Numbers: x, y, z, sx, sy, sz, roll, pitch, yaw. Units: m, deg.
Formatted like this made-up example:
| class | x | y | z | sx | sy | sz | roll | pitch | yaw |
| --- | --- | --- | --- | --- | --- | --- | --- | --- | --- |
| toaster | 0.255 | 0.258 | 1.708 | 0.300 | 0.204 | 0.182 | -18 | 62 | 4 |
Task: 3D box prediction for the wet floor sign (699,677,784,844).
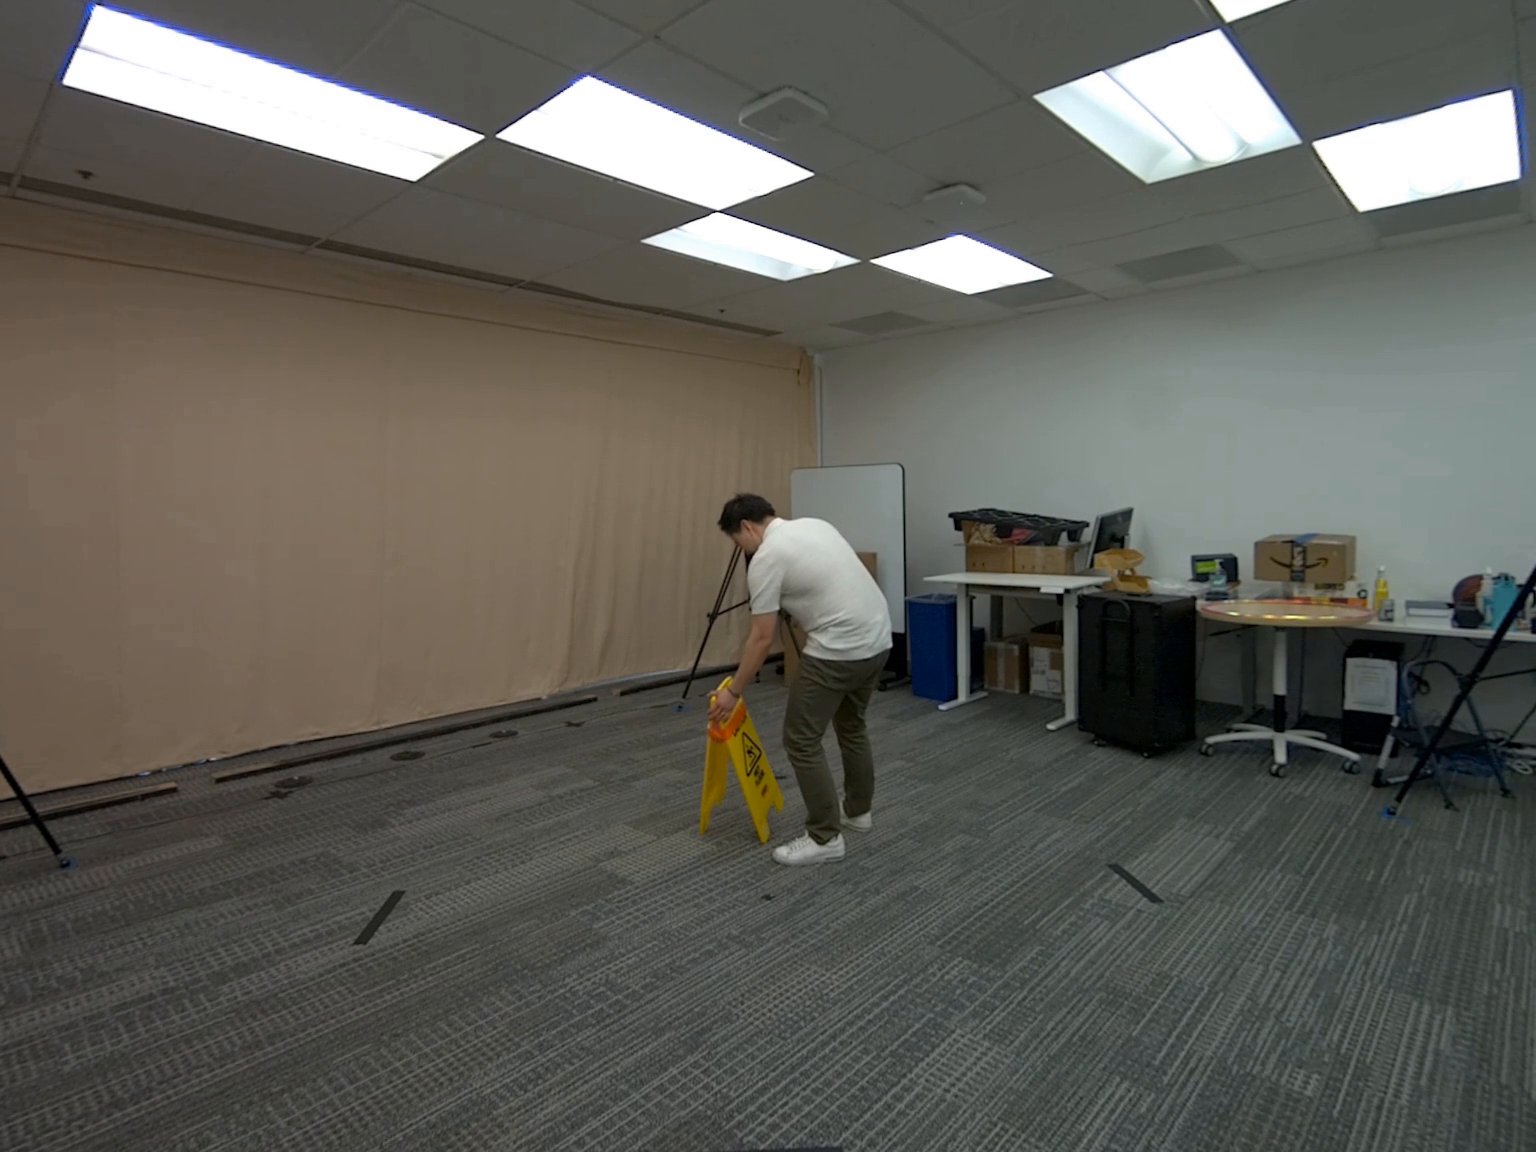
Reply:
| class | x | y | z | sx | sy | sz | roll | pitch | yaw |
| --- | --- | --- | --- | --- | --- | --- | --- | --- | --- |
| wet floor sign | -0.150 | 0.752 | 3.532 | 0.296 | 0.637 | 0.279 | 0 | 19 | 22 |
